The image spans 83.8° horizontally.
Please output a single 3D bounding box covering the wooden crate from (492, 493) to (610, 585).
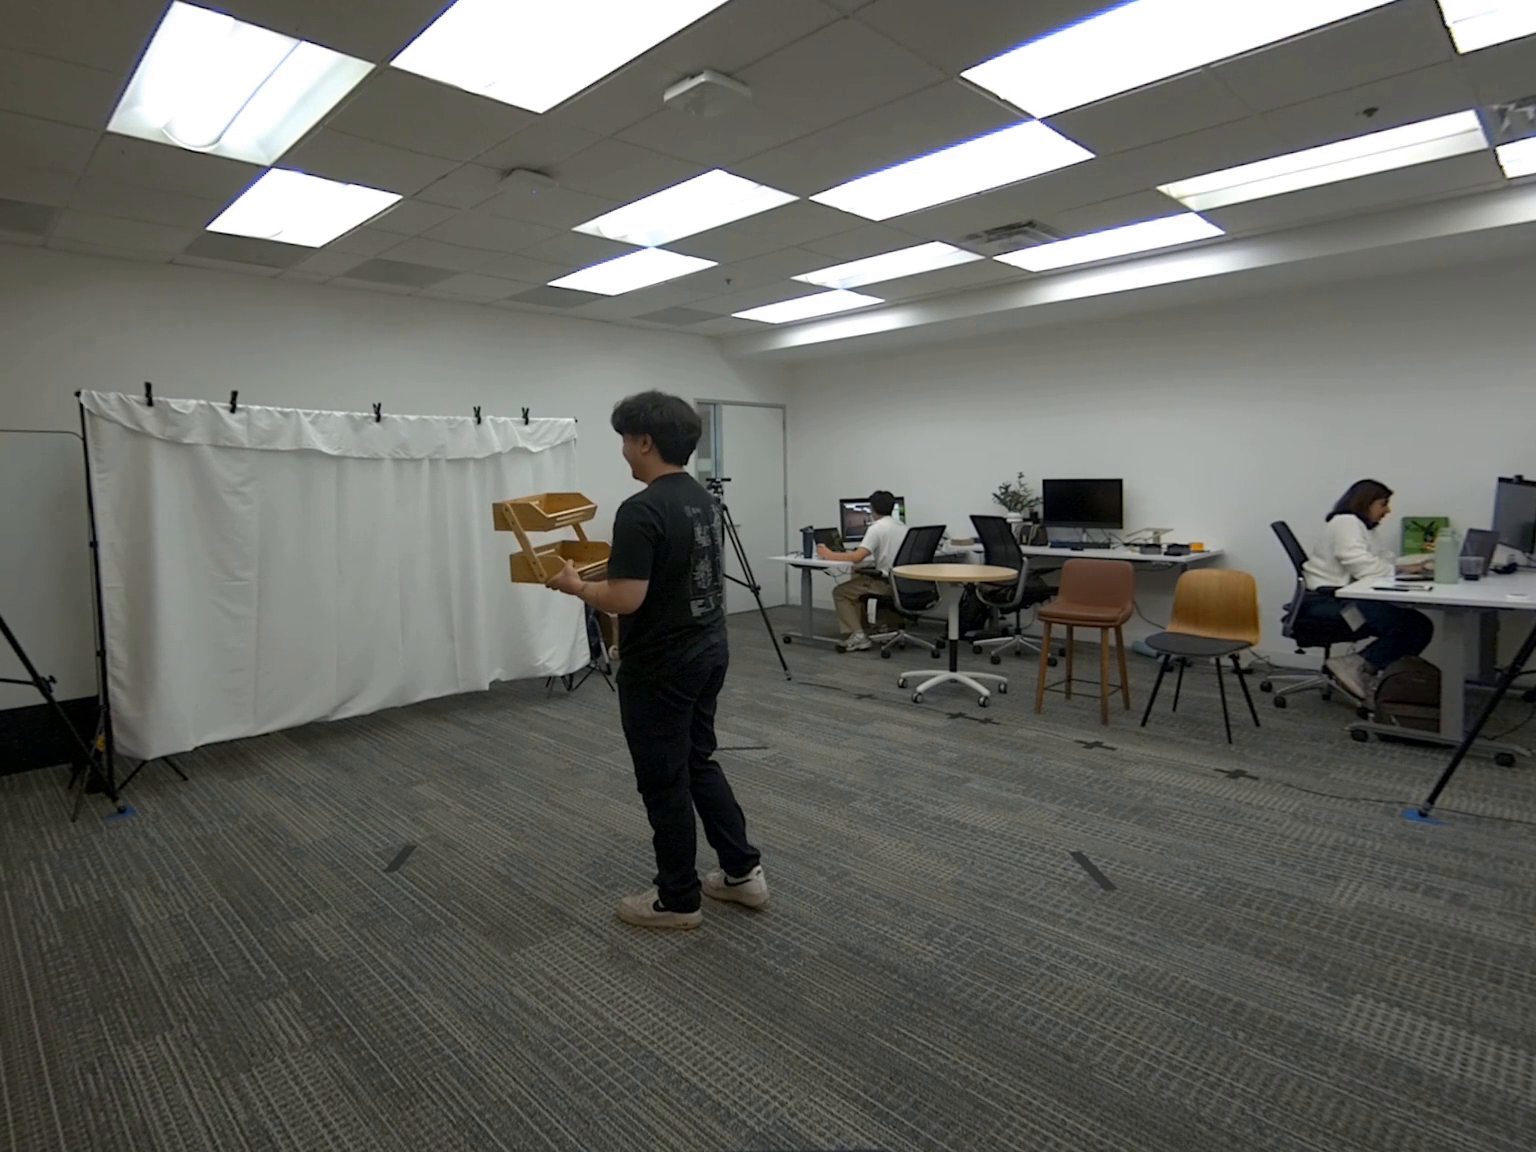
[{"bbox_3d":[-0.672,-0.137,2.839,0.308,0.271,0.321,2,11,20],"label":"wooden crate"}]
